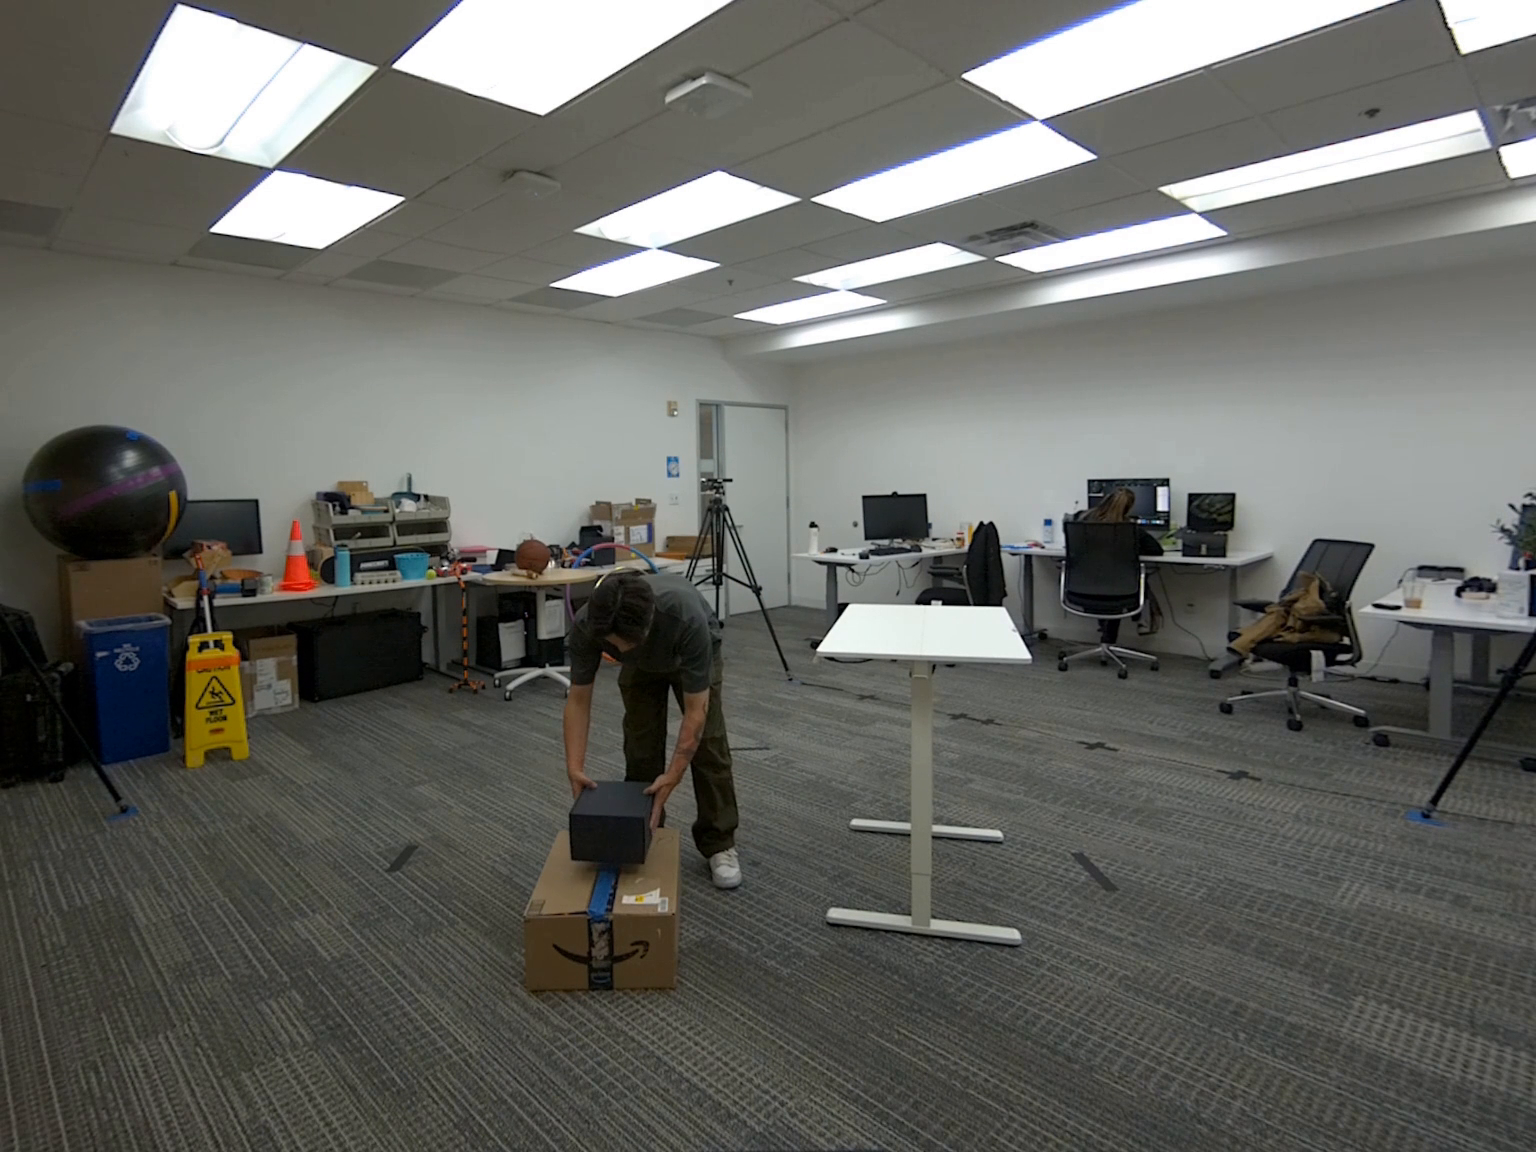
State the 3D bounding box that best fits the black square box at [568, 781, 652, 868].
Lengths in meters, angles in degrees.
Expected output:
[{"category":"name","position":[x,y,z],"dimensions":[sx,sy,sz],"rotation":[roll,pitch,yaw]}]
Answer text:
[{"category":"black square box","position":[-0.471,0.756,2.641],"dimensions":[0.229,0.154,0.218],"rotation":[0,12,4]}]
